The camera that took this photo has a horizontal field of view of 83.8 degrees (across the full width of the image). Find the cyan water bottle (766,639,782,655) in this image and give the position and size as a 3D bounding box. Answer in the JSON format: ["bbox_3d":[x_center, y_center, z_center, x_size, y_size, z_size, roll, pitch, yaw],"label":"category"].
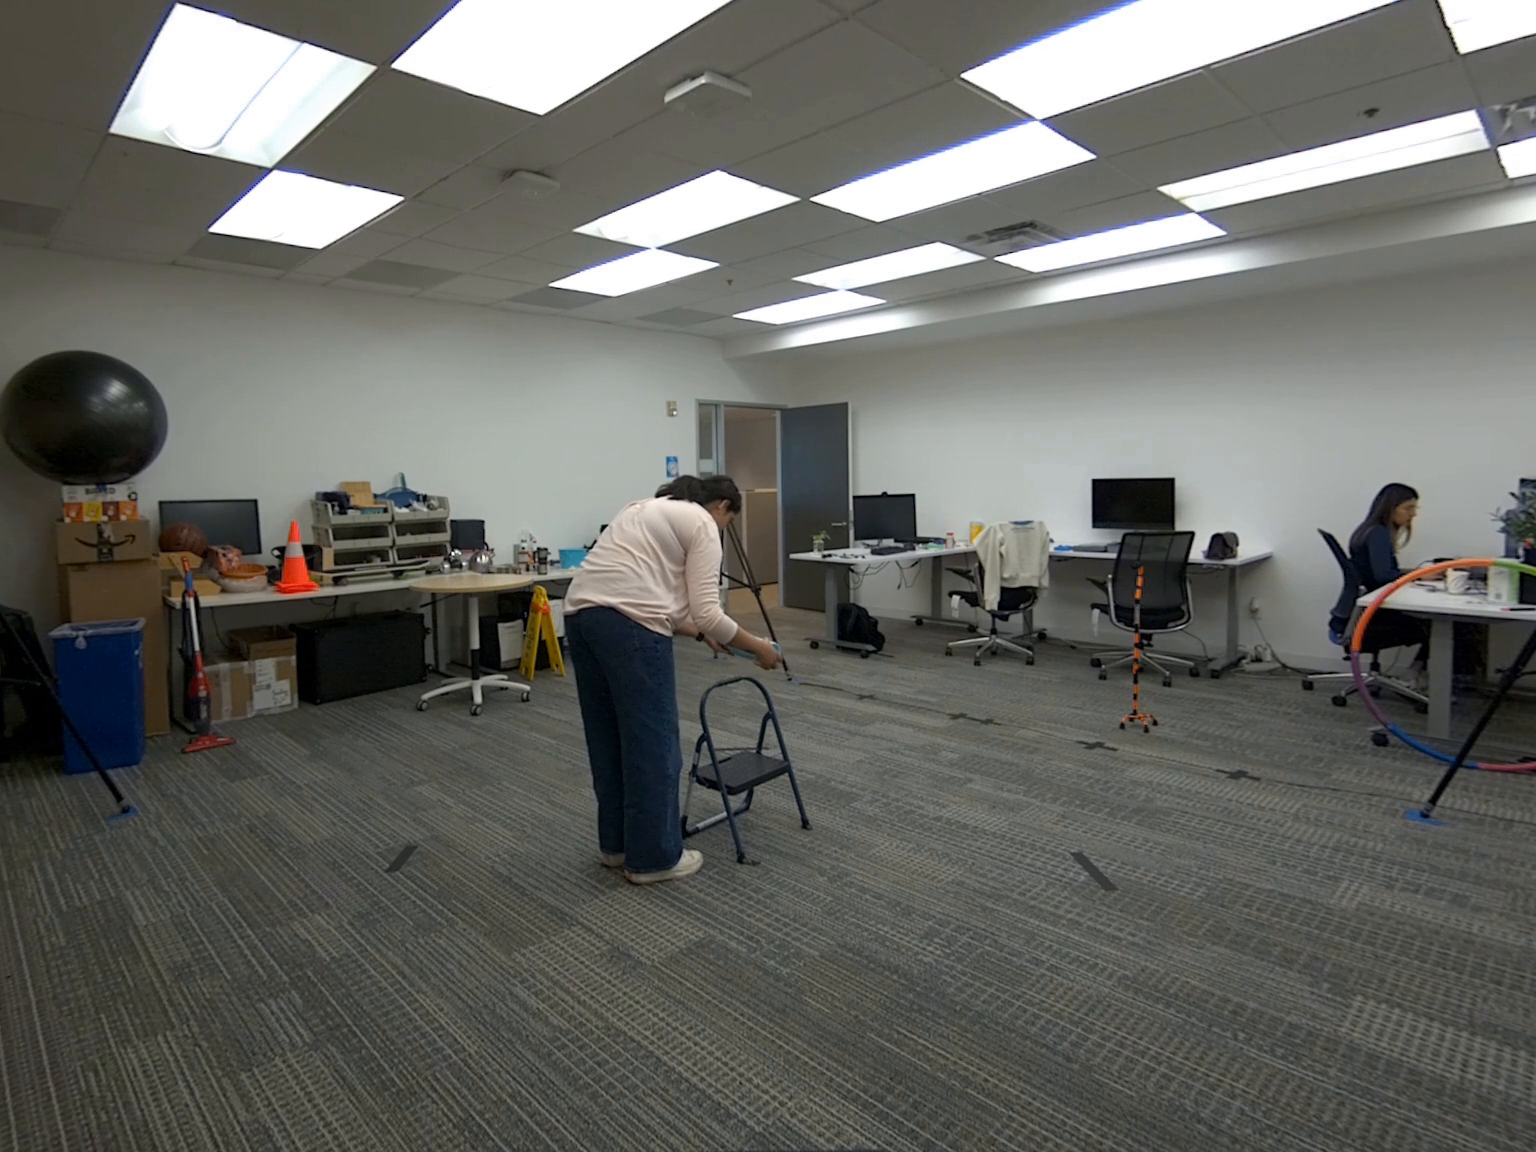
[{"bbox_3d":[-0.068,0.266,3.235,0.090,0.091,0.293,-5,11,-37],"label":"cyan water bottle"}]
